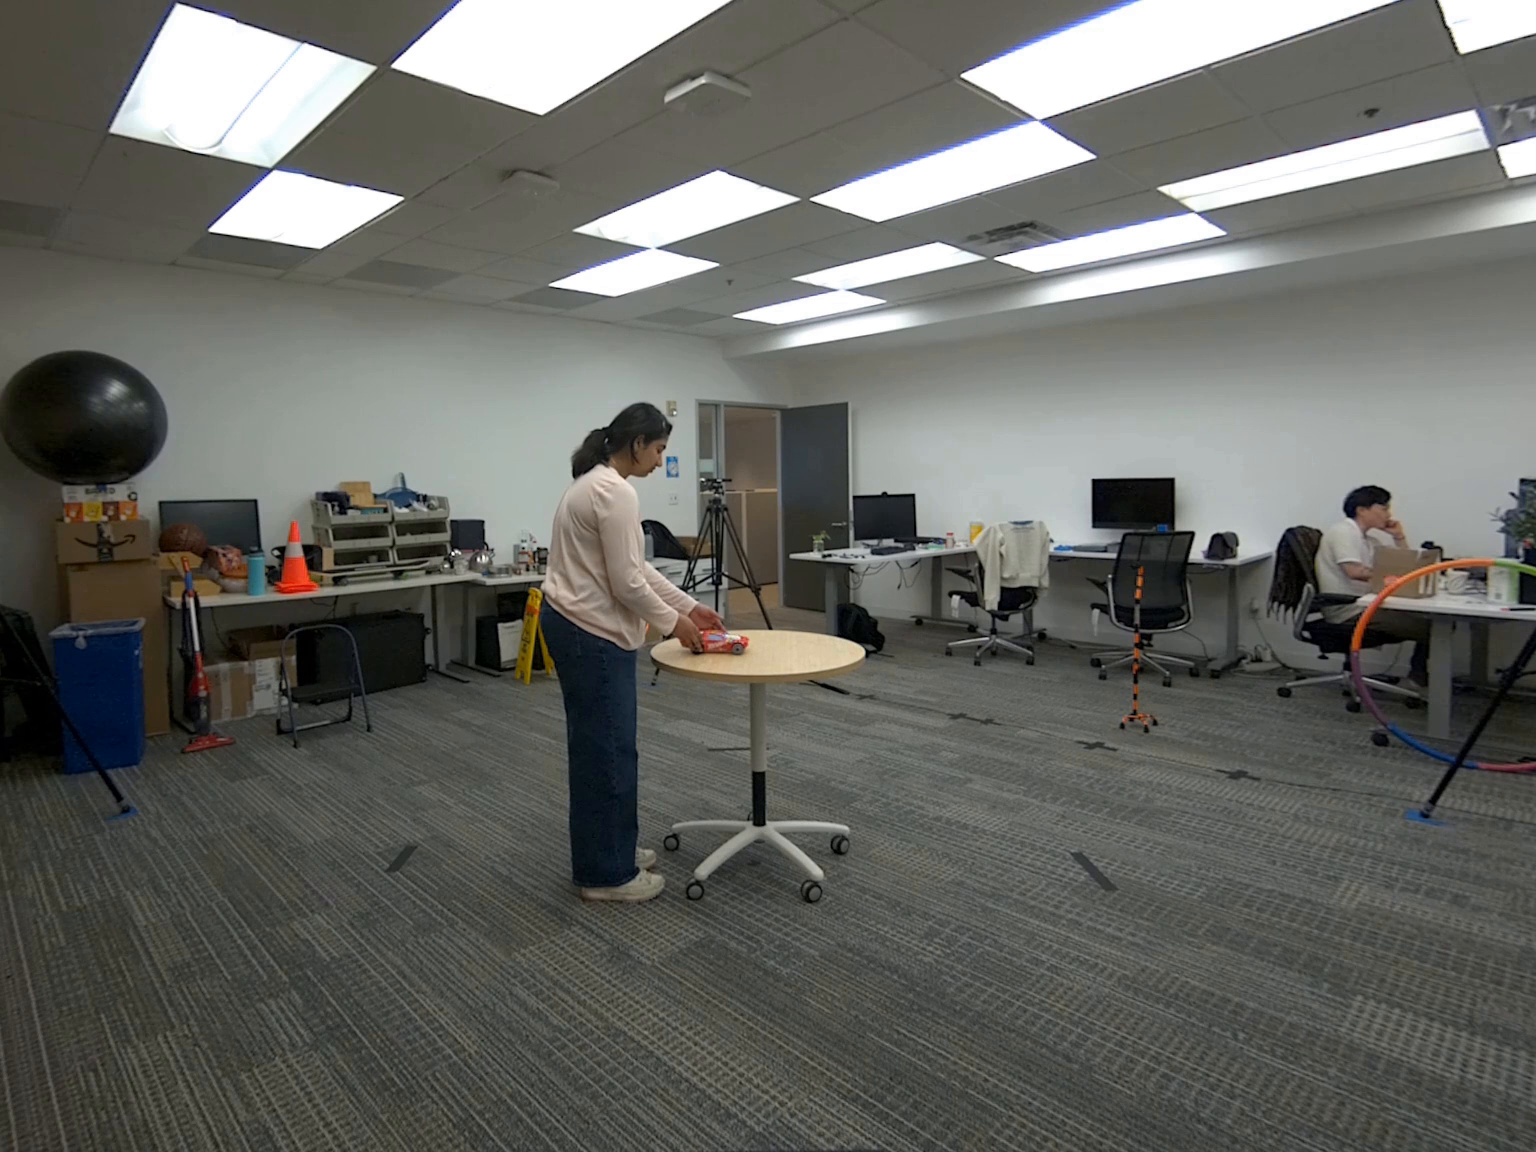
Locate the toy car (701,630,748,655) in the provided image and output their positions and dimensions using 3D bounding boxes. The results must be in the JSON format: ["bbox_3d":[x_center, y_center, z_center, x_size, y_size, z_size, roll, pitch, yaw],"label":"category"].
[{"bbox_3d":[-0.199,0.236,3.037,0.256,0.083,0.130,11,7,4],"label":"toy car"}]
